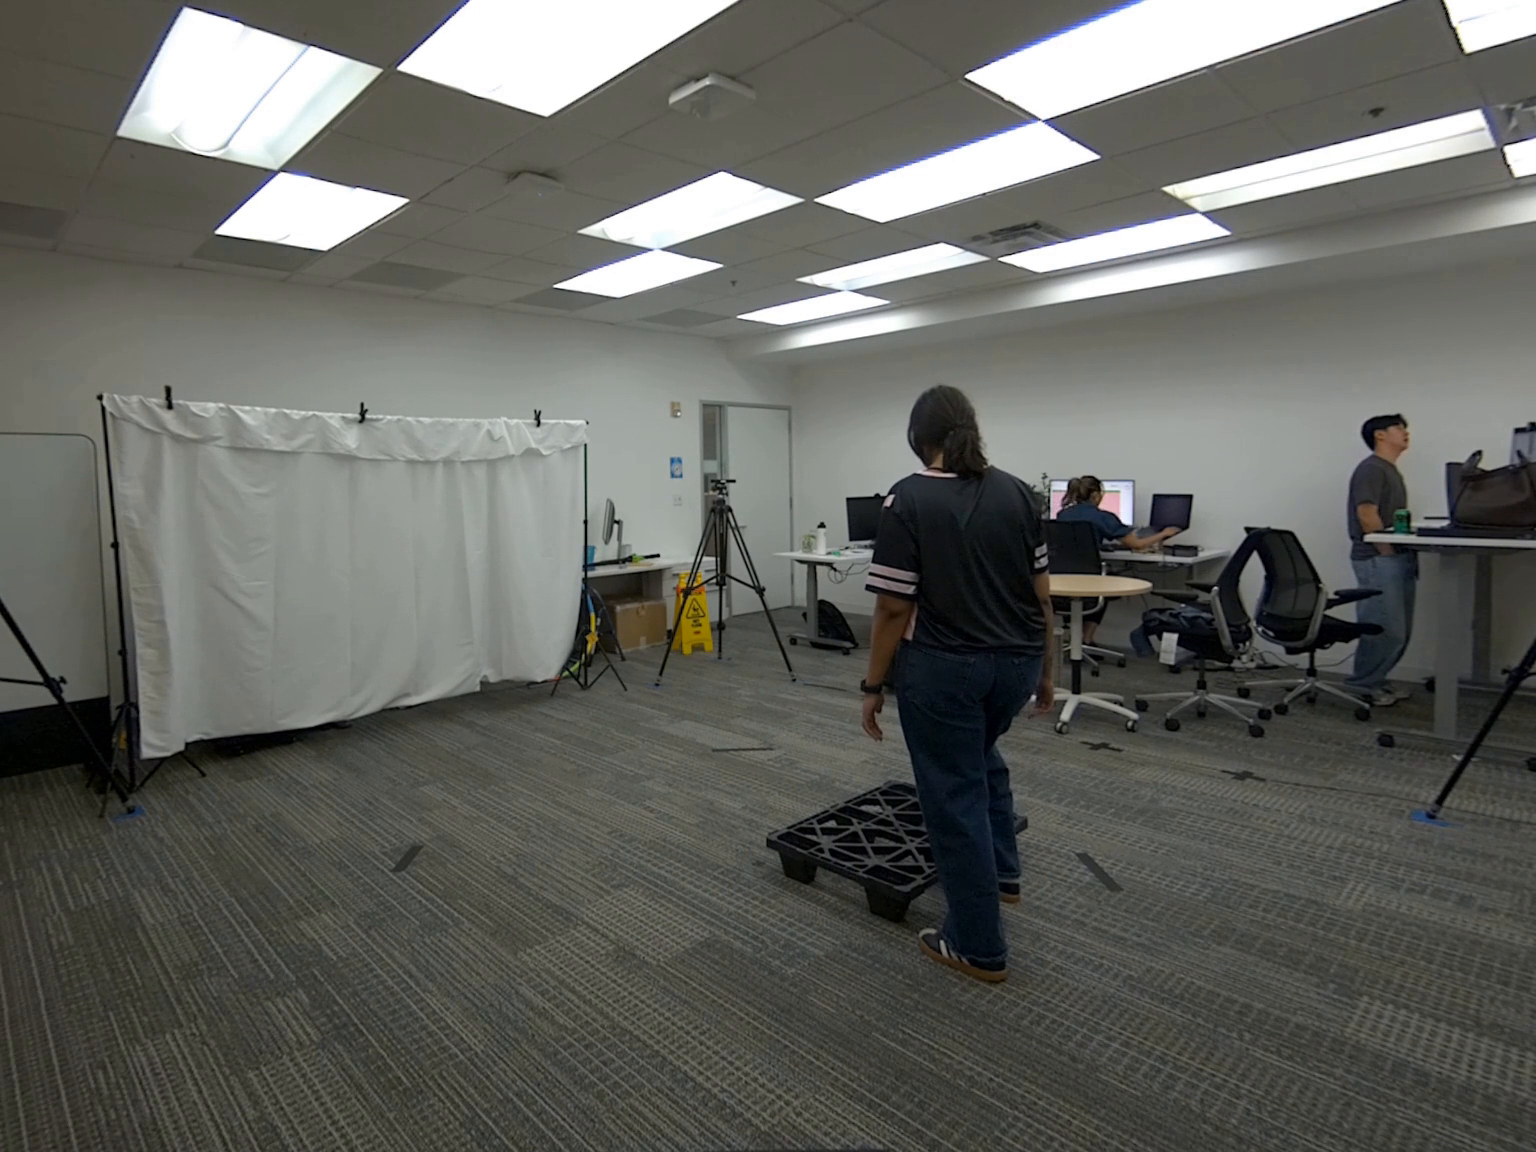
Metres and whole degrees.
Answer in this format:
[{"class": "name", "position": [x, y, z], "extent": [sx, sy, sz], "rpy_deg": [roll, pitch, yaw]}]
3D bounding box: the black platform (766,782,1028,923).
[{"class": "black platform", "position": [0.472, 0.971, 3.092], "extent": [0.624, 0.143, 0.784], "rpy_deg": [4, 8, 44]}]
